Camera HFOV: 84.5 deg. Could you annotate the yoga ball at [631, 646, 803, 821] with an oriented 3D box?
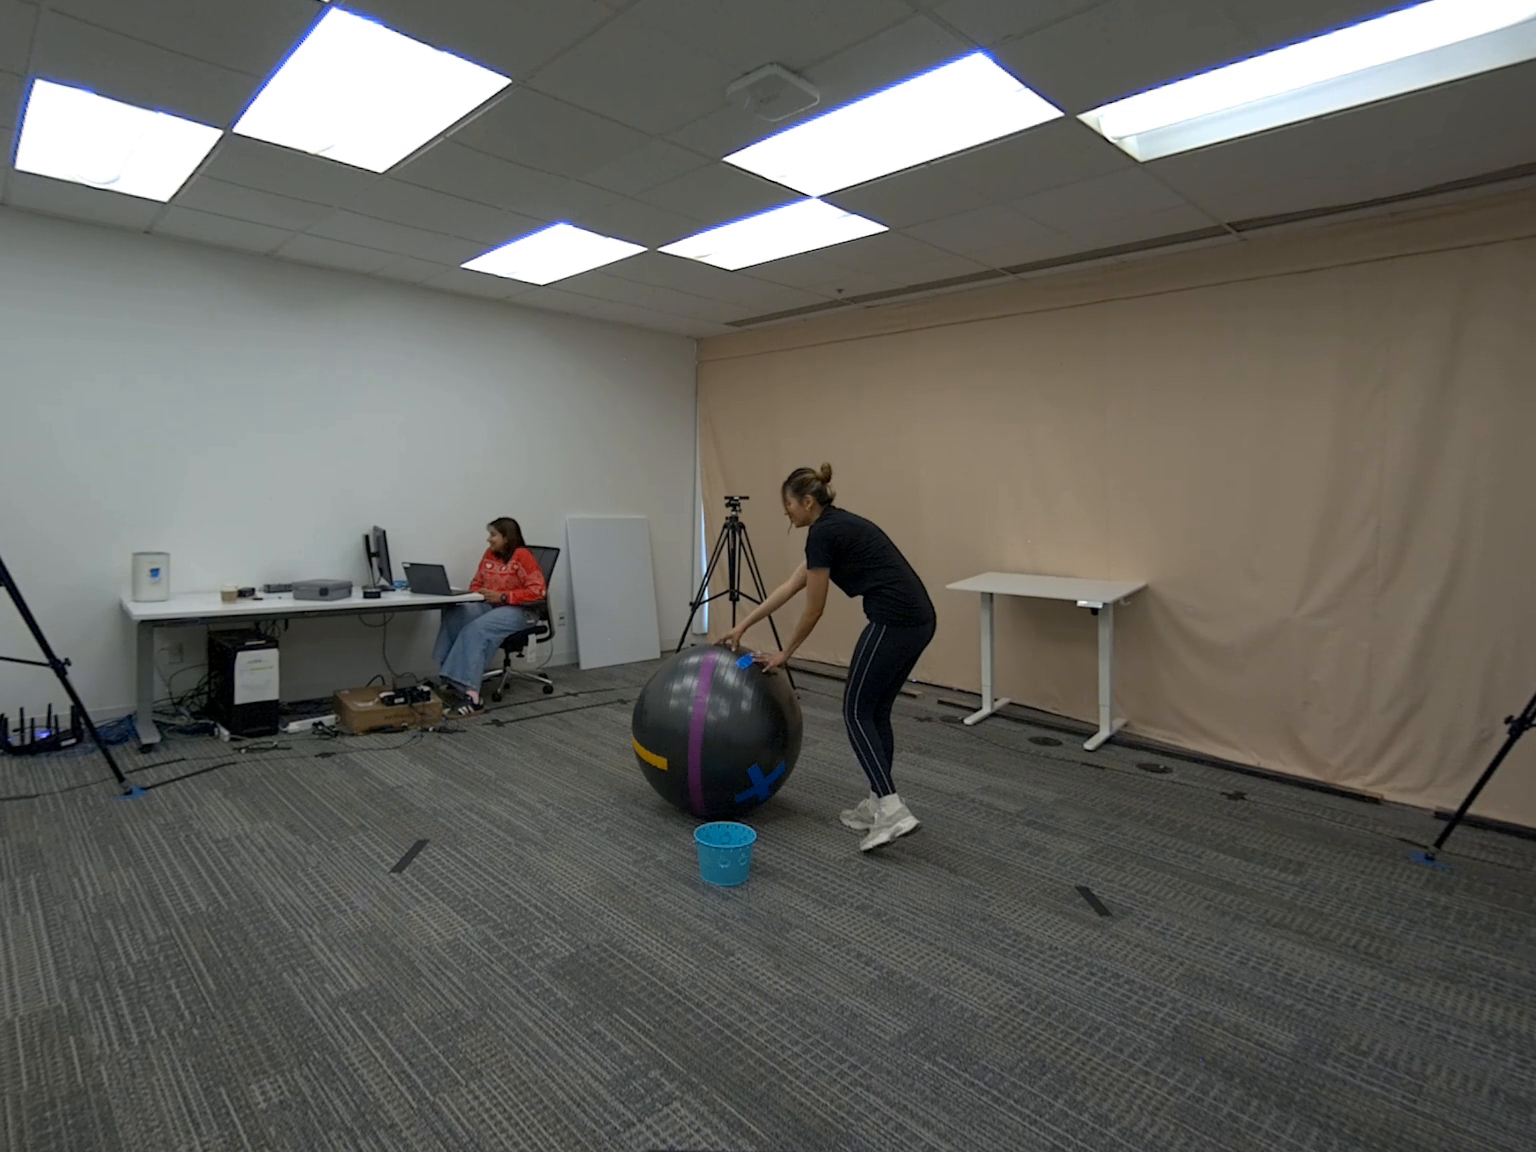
[{"bbox_3d":[-0.233,0.685,3.750,0.757,0.756,0.761,1,4,-1],"label":"yoga ball"}]
